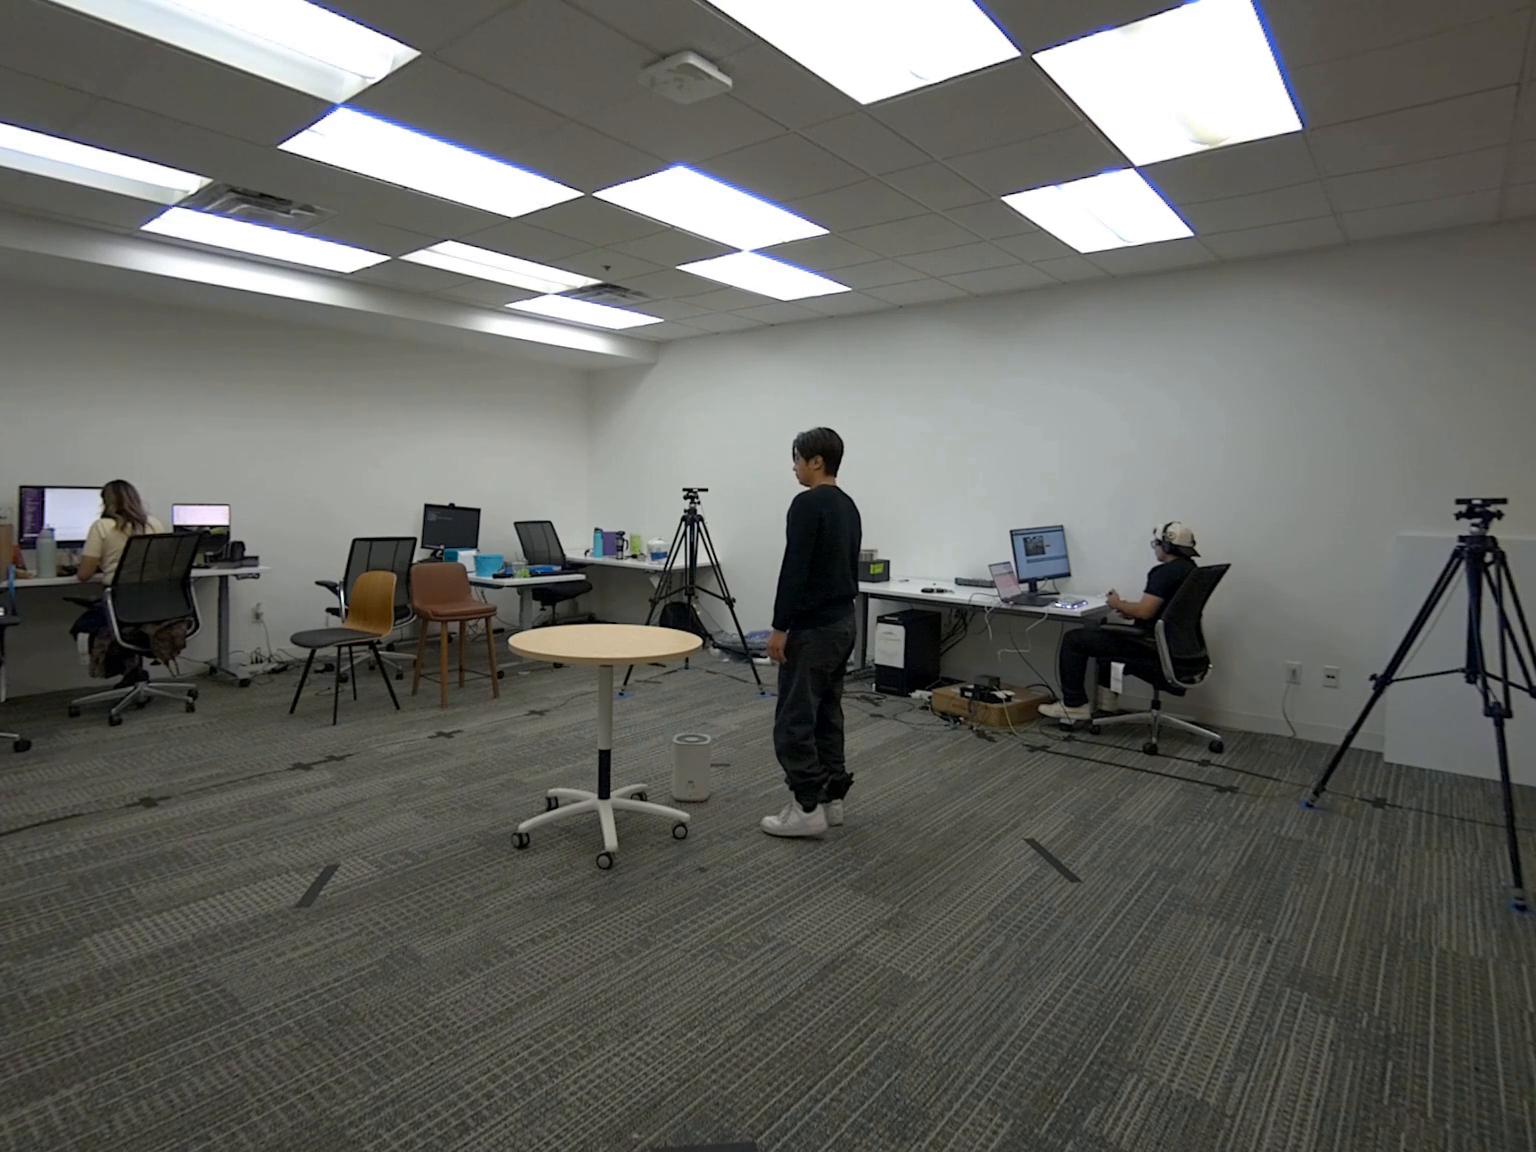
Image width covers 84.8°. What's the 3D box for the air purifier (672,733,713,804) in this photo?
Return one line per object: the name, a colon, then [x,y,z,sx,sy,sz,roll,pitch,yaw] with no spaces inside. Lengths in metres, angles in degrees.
air purifier: [-0.357,0.862,3.849,0.171,0.264,0.172,1,4,-1]
